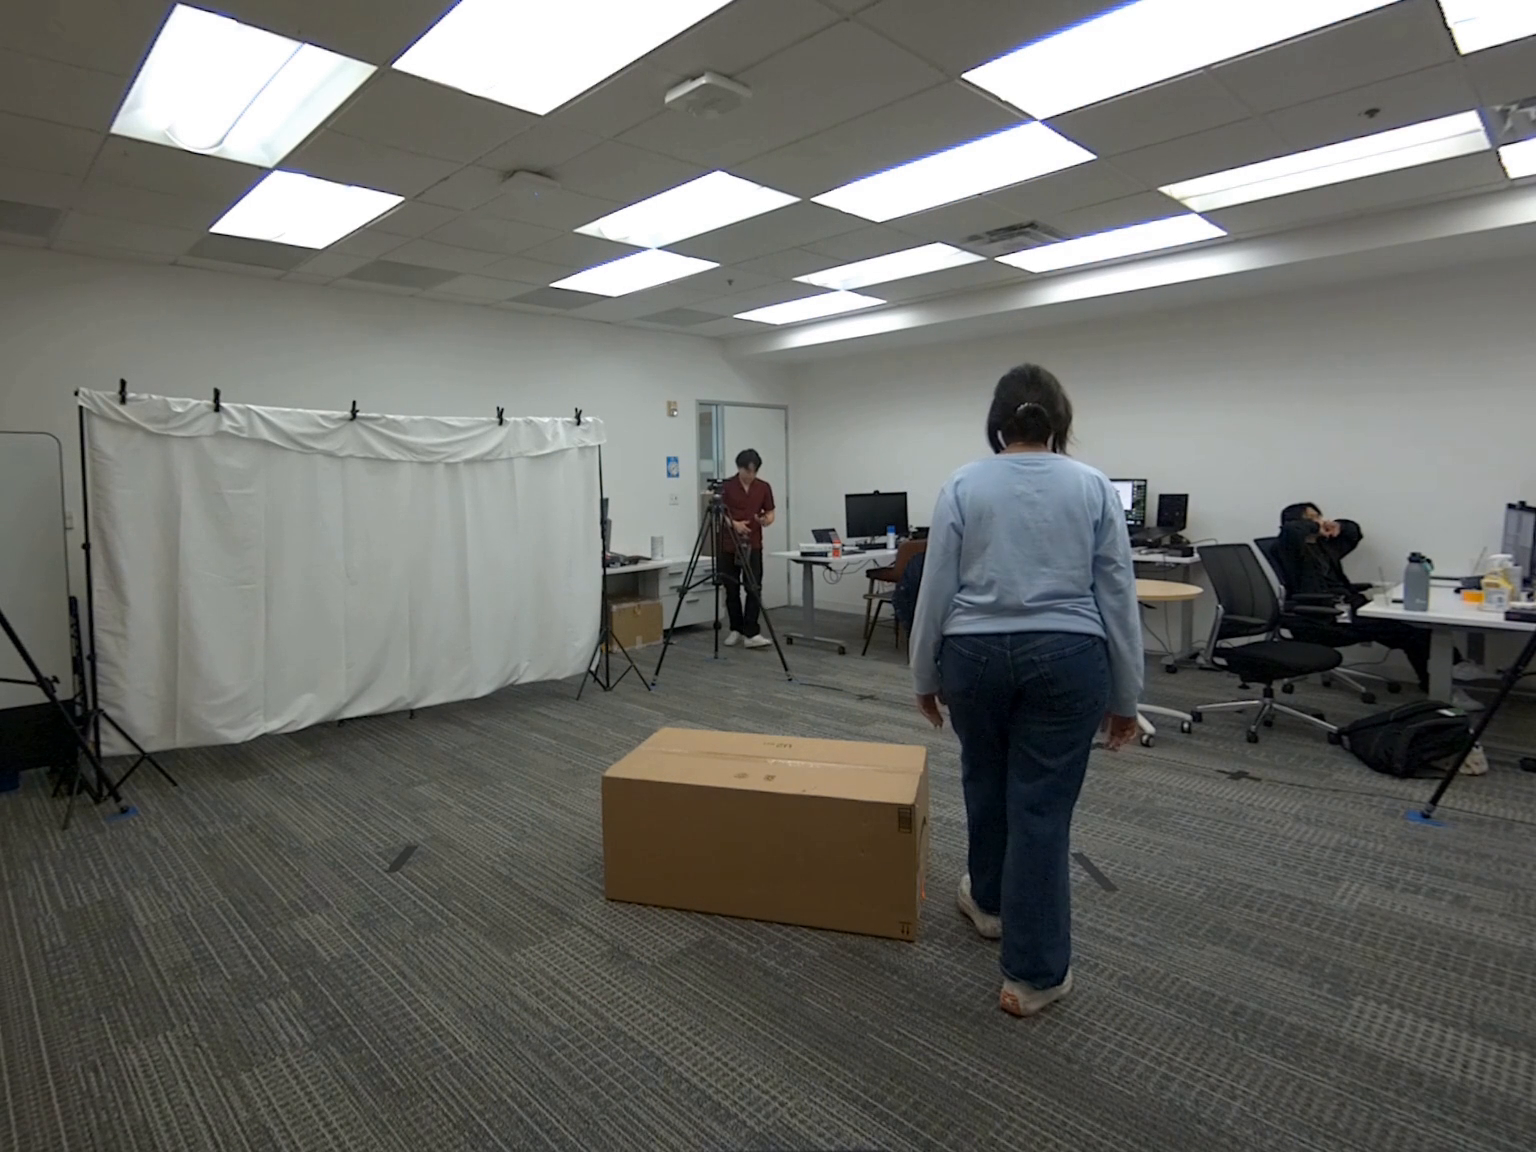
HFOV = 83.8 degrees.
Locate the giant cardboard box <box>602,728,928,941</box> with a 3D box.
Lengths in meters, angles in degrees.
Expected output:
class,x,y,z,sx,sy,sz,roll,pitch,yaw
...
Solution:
class,x,y,z,sx,sy,sz,roll,pitch,yaw
giant cardboard box,0.012,0.842,2.970,1.043,0.424,0.571,1,6,17
